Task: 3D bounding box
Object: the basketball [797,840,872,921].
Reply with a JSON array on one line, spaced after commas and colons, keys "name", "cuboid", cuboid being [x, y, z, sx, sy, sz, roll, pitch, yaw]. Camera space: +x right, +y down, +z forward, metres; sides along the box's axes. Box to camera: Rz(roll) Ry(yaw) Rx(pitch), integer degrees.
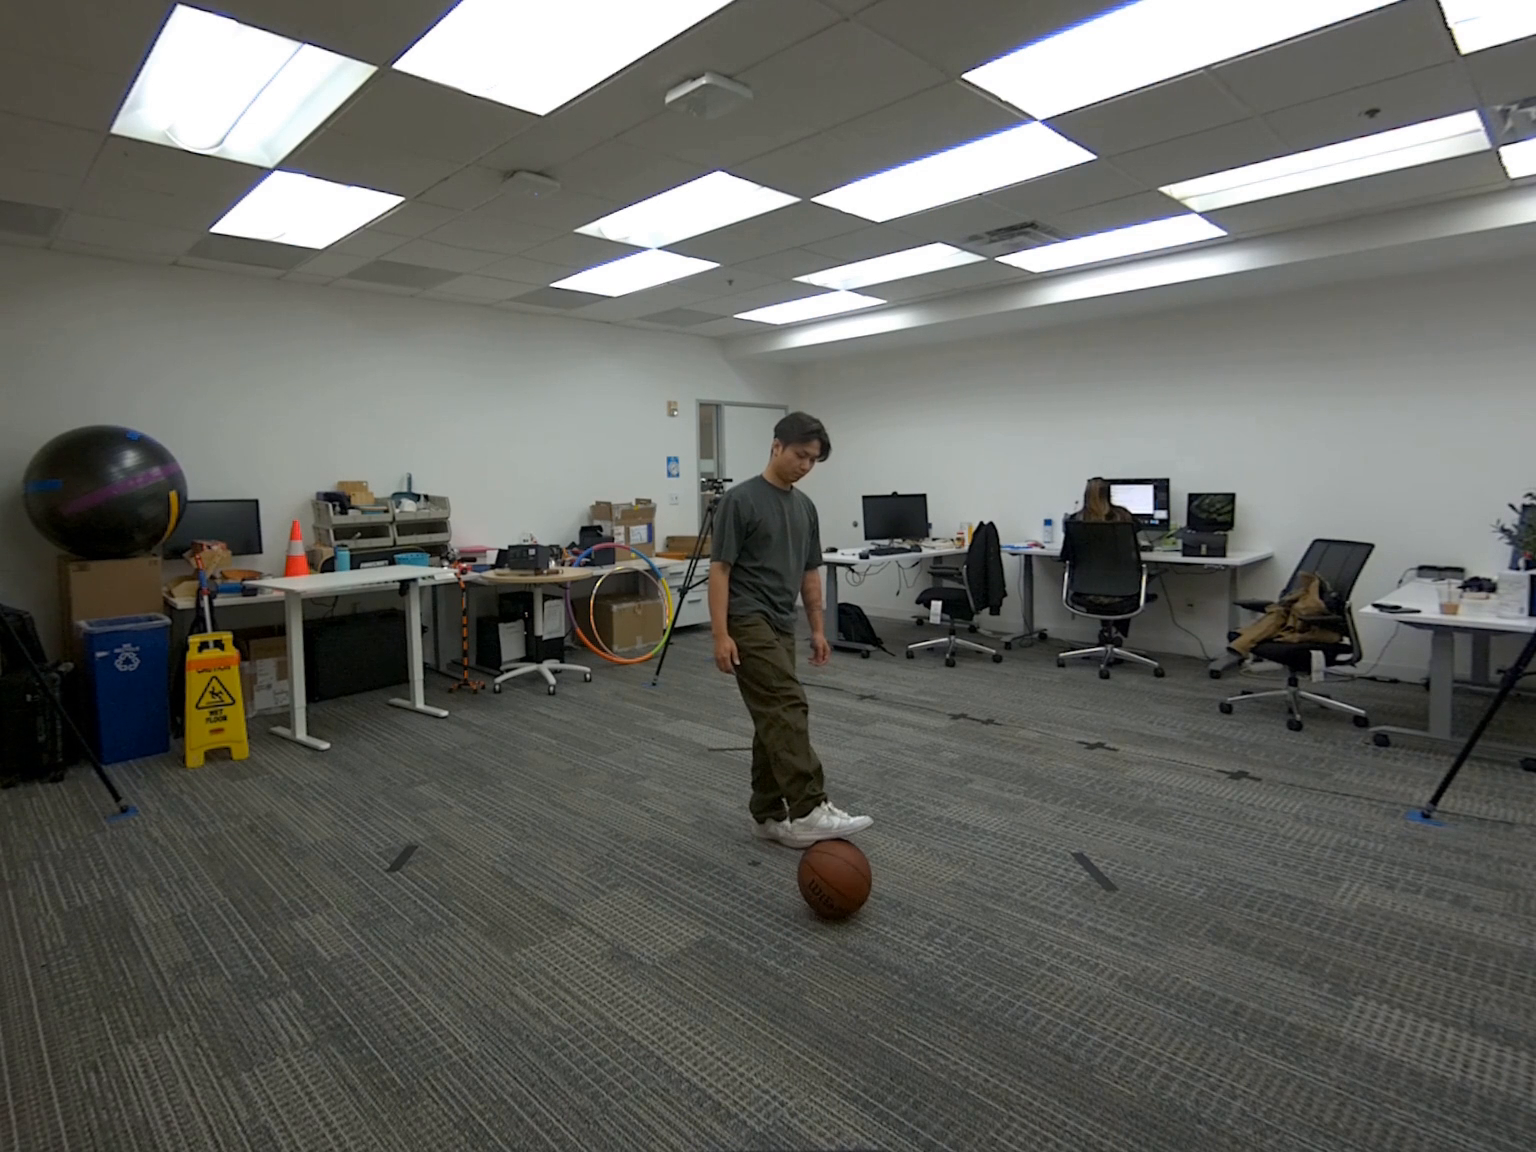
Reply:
[{"name": "basketball", "cuboid": [0.219, 0.966, 2.737, 0.236, 0.235, 0.237, -1, 5, -2]}]
